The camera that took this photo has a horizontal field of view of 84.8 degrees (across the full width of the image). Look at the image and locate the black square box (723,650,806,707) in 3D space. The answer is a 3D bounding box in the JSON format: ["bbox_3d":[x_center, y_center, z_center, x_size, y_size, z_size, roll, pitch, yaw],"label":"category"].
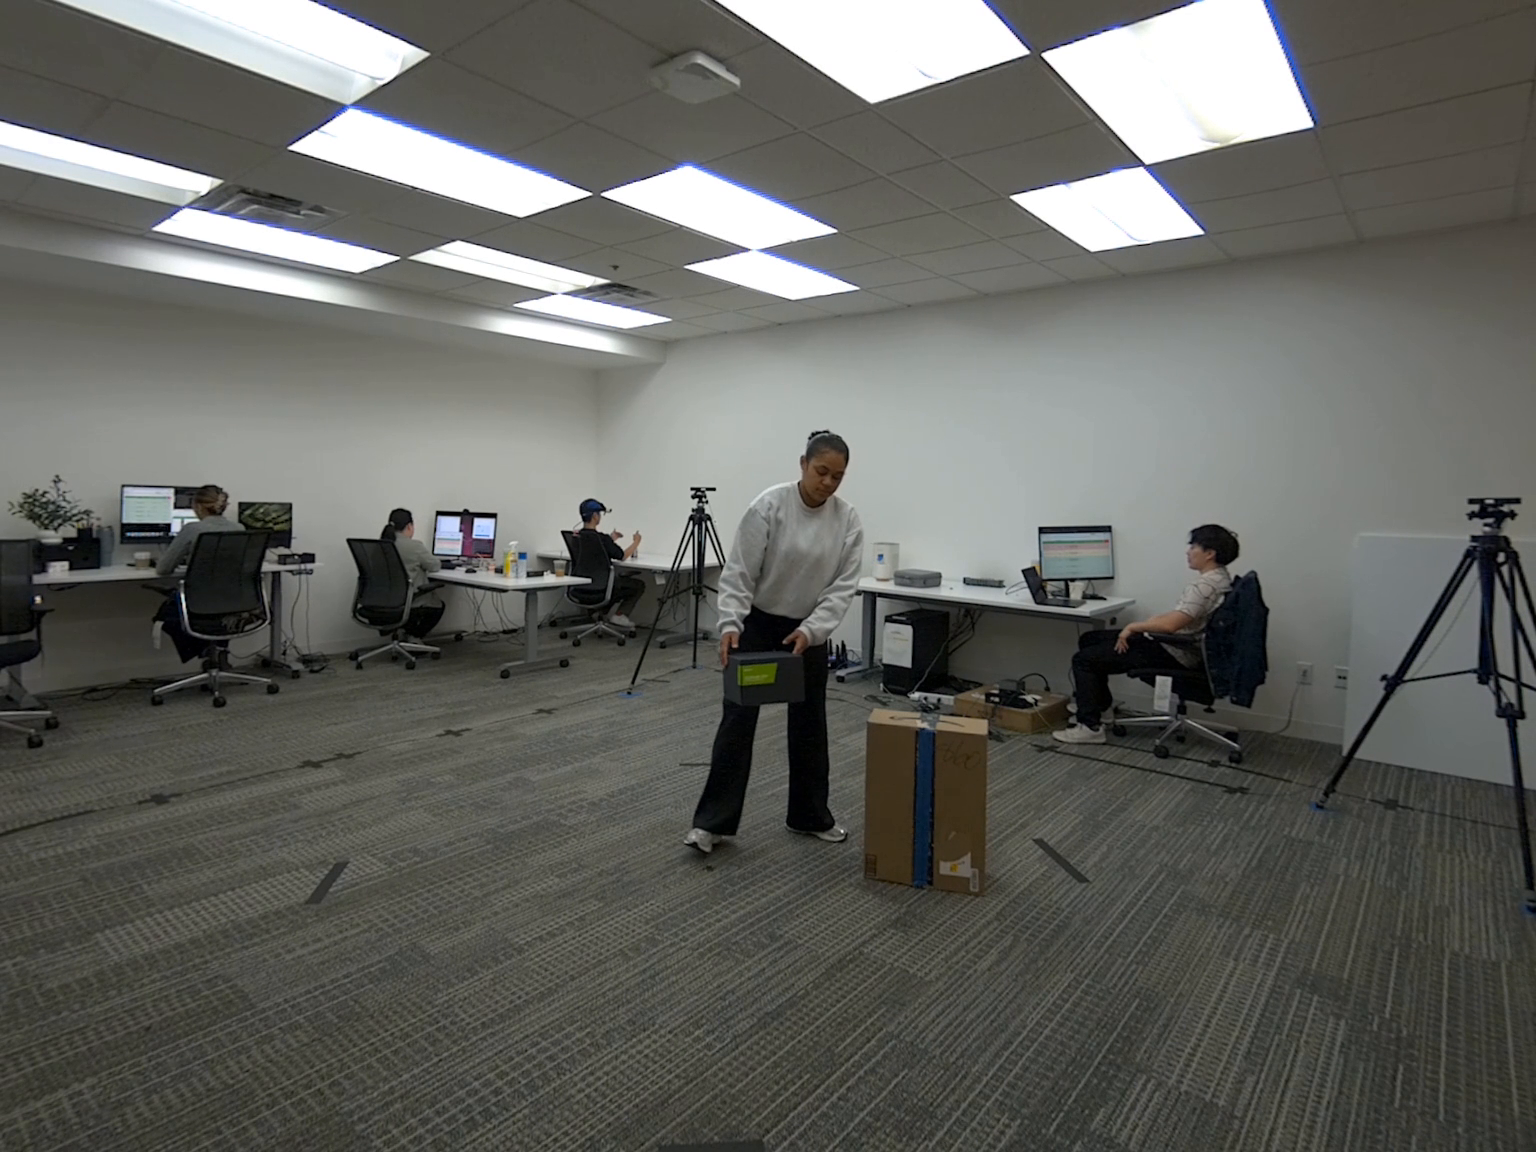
[{"bbox_3d":[-0.024,0.356,2.957,0.225,0.156,0.219,-2,0,-12],"label":"black square box"}]
